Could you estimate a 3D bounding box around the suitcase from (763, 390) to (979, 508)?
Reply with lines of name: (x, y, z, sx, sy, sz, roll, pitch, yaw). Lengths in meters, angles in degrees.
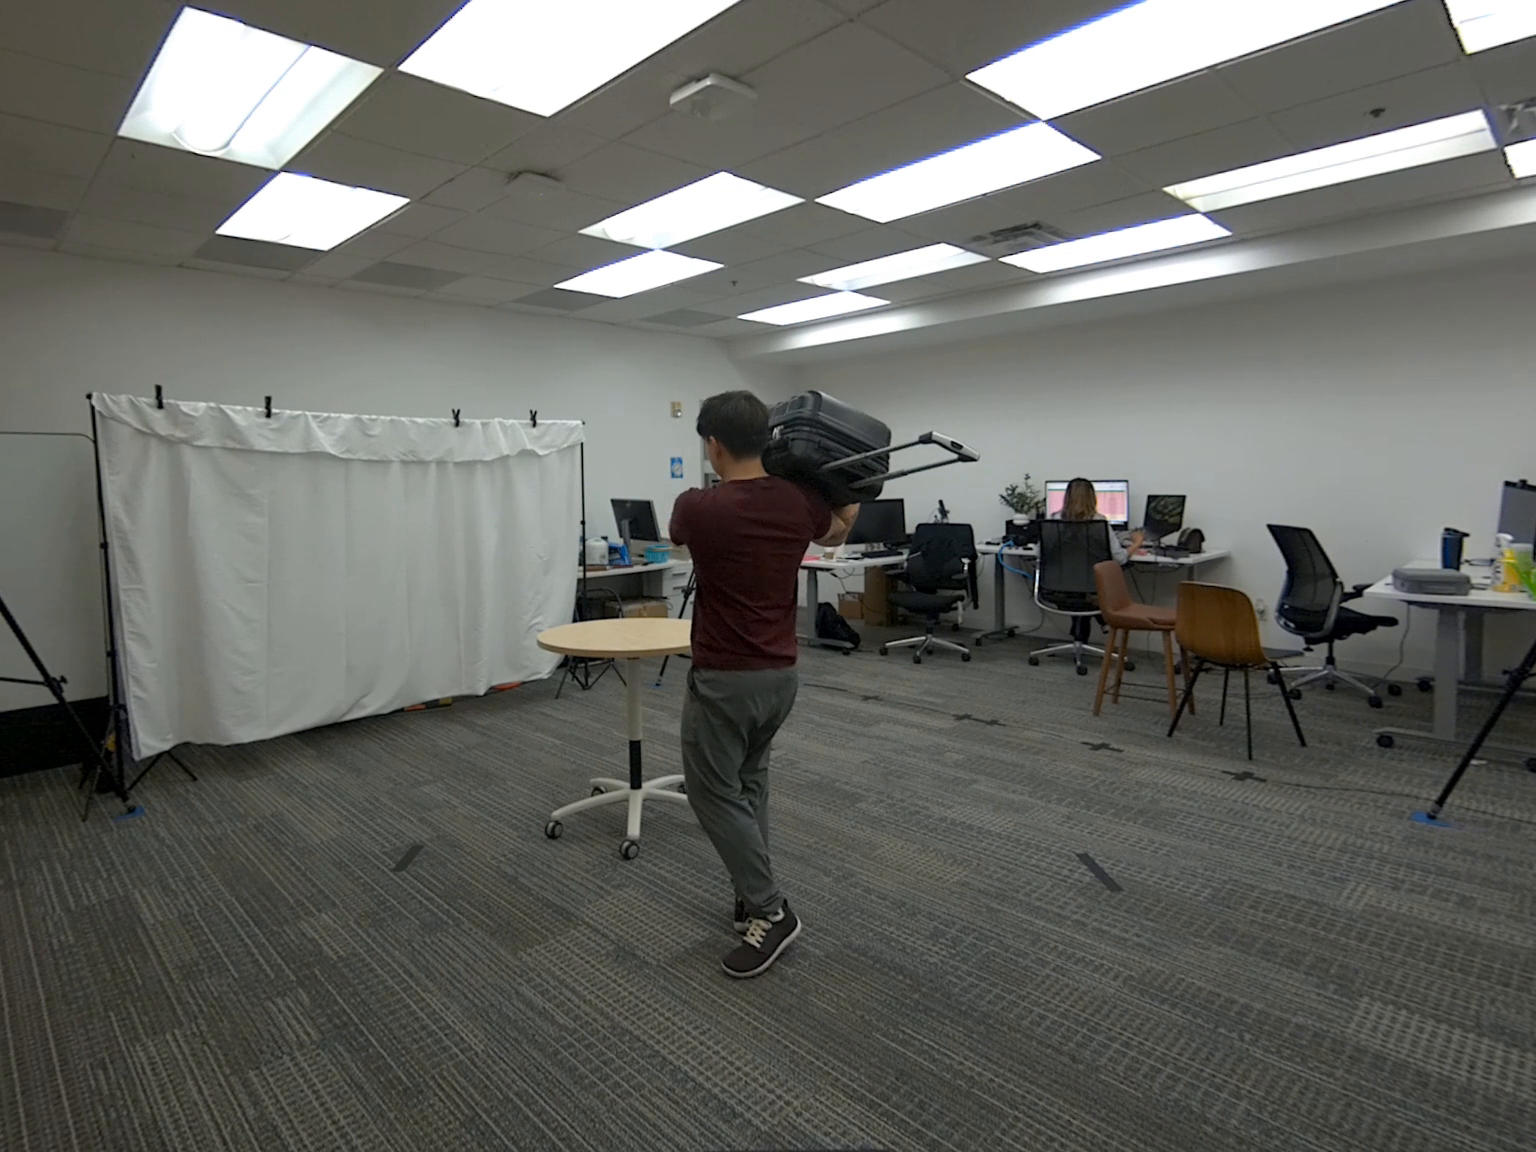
suitcase: (0.219, -0.391, 2.541, 0.373, 0.259, 0.998, 21, -16, -28)
